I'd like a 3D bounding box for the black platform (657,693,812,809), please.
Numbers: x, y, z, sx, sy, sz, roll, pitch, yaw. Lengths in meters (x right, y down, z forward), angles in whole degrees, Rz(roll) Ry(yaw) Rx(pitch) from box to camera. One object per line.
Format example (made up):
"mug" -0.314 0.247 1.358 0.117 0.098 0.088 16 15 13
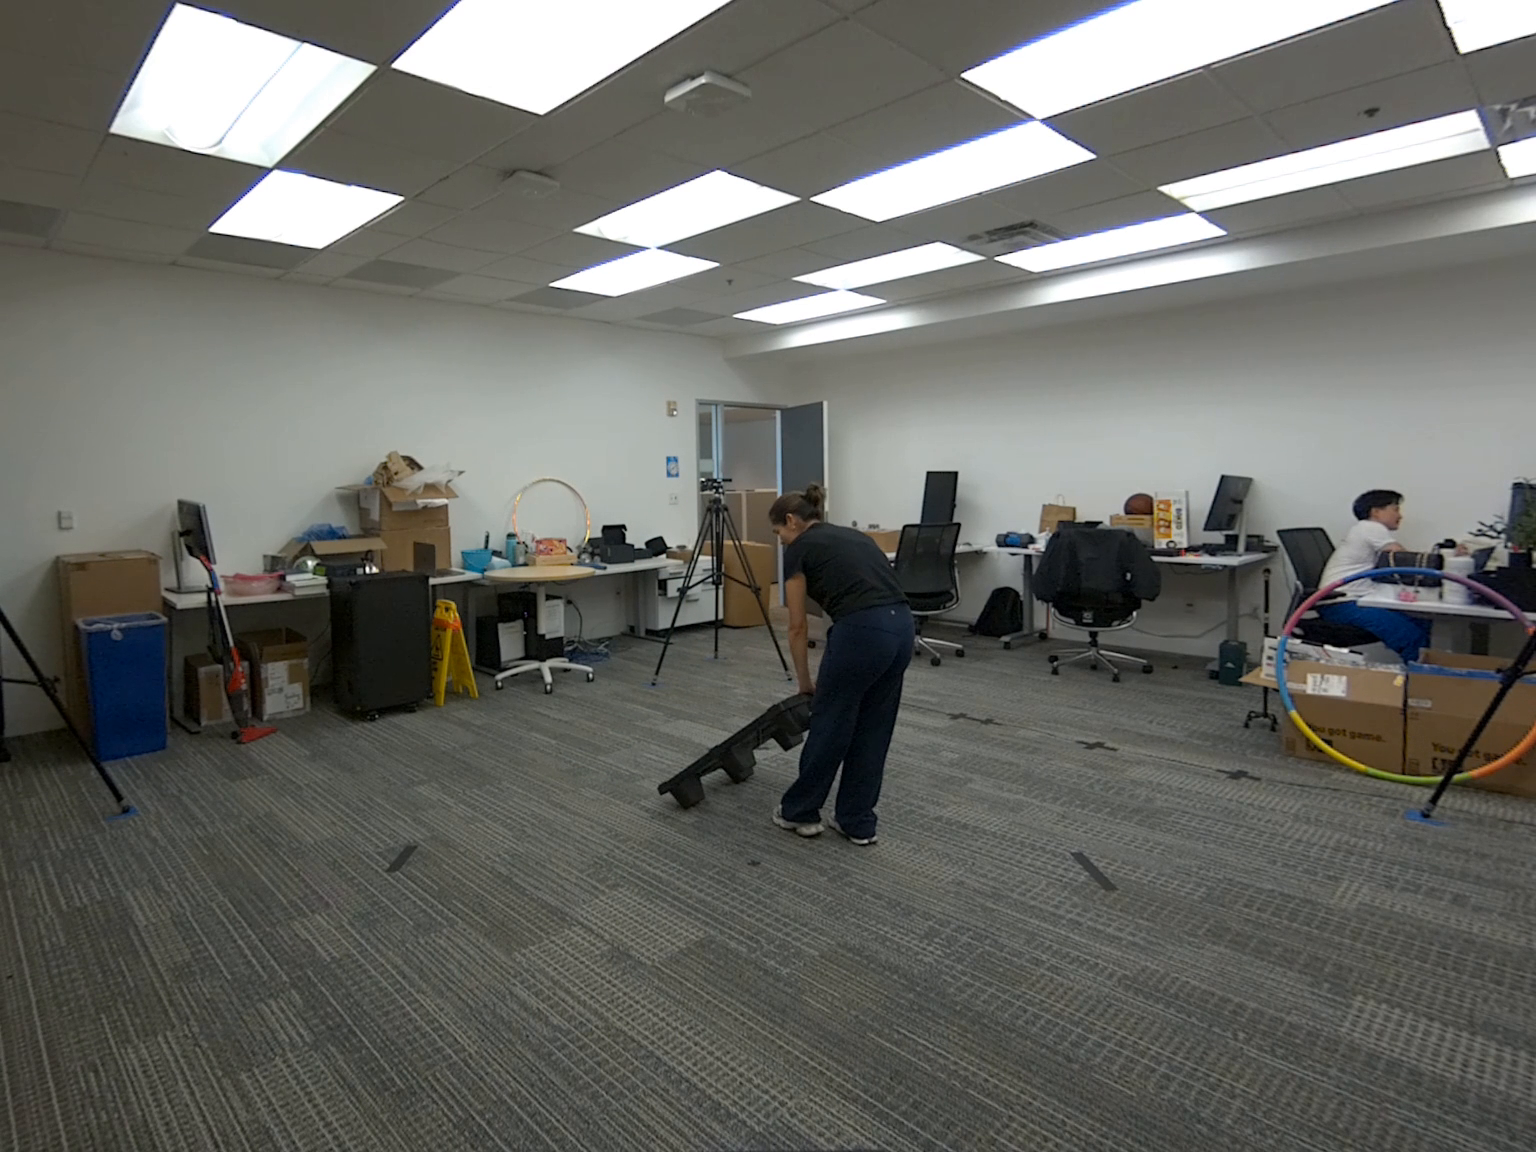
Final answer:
"black platform" -0.026 0.713 3.653 0.808 0.146 0.591 -40 -16 31
